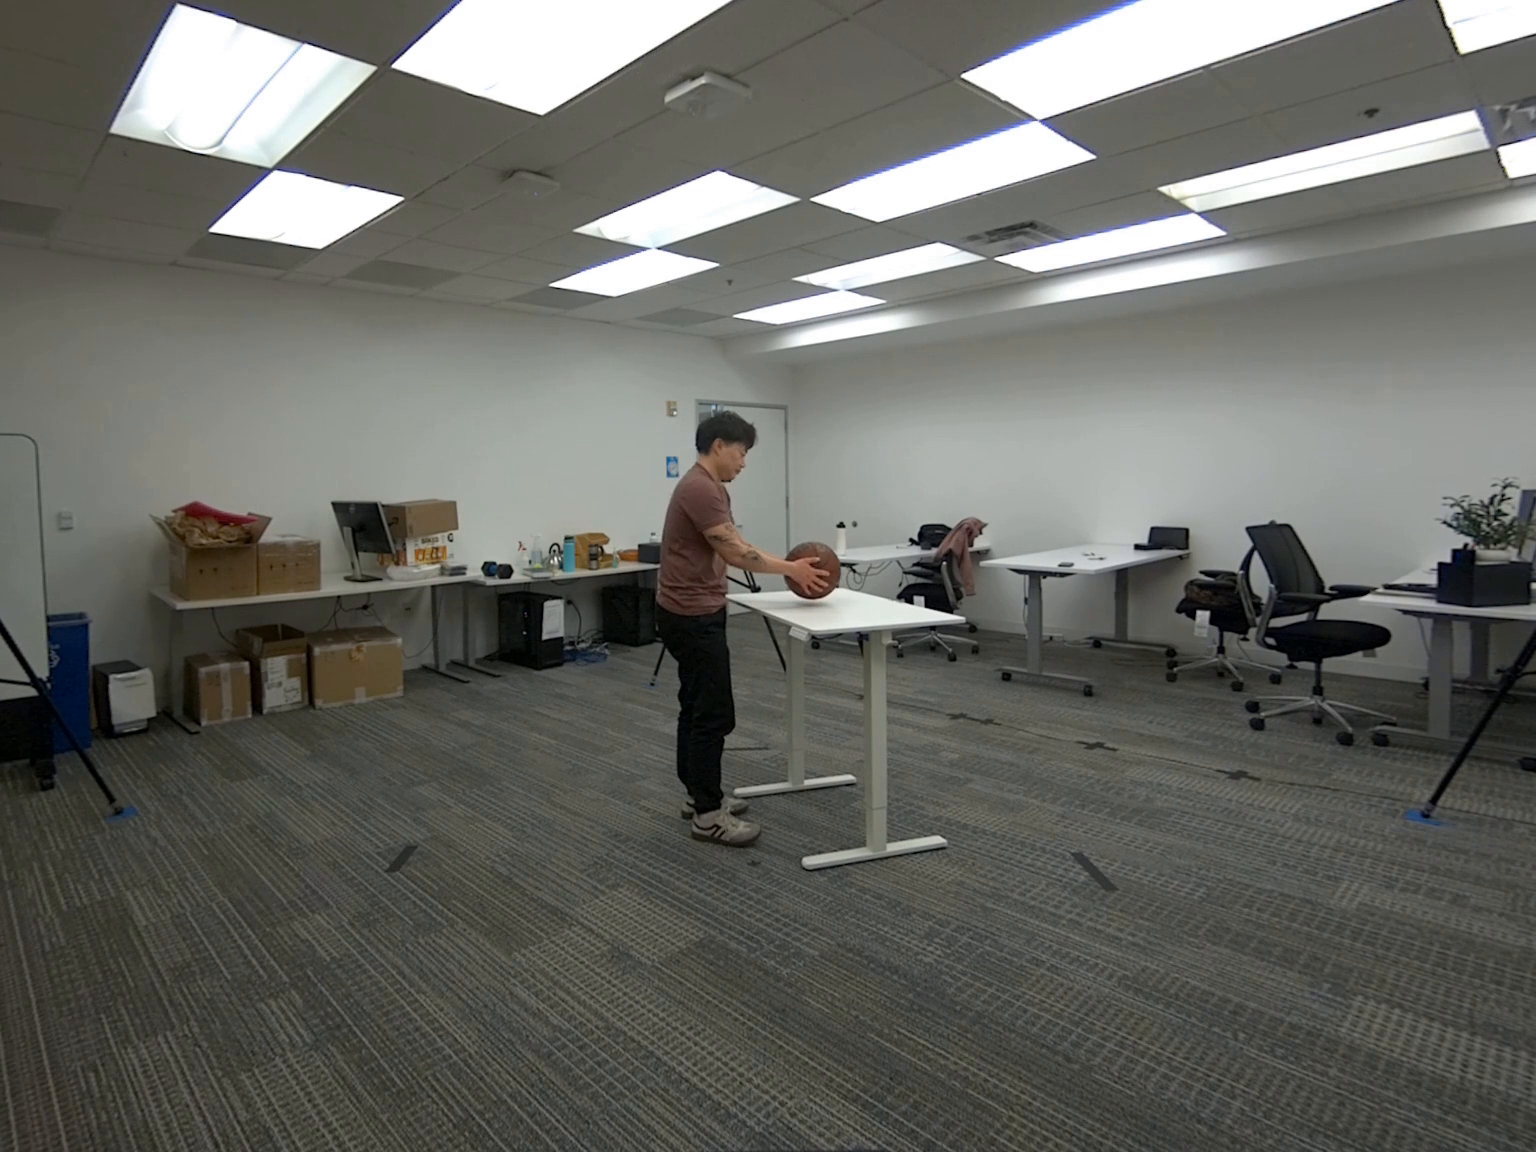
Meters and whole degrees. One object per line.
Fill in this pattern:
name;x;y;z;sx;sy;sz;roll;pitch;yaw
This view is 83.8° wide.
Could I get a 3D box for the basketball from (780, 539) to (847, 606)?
basketball;0.178;-0.020;3.469;0.236;0.235;0.237;-1;5;-2
